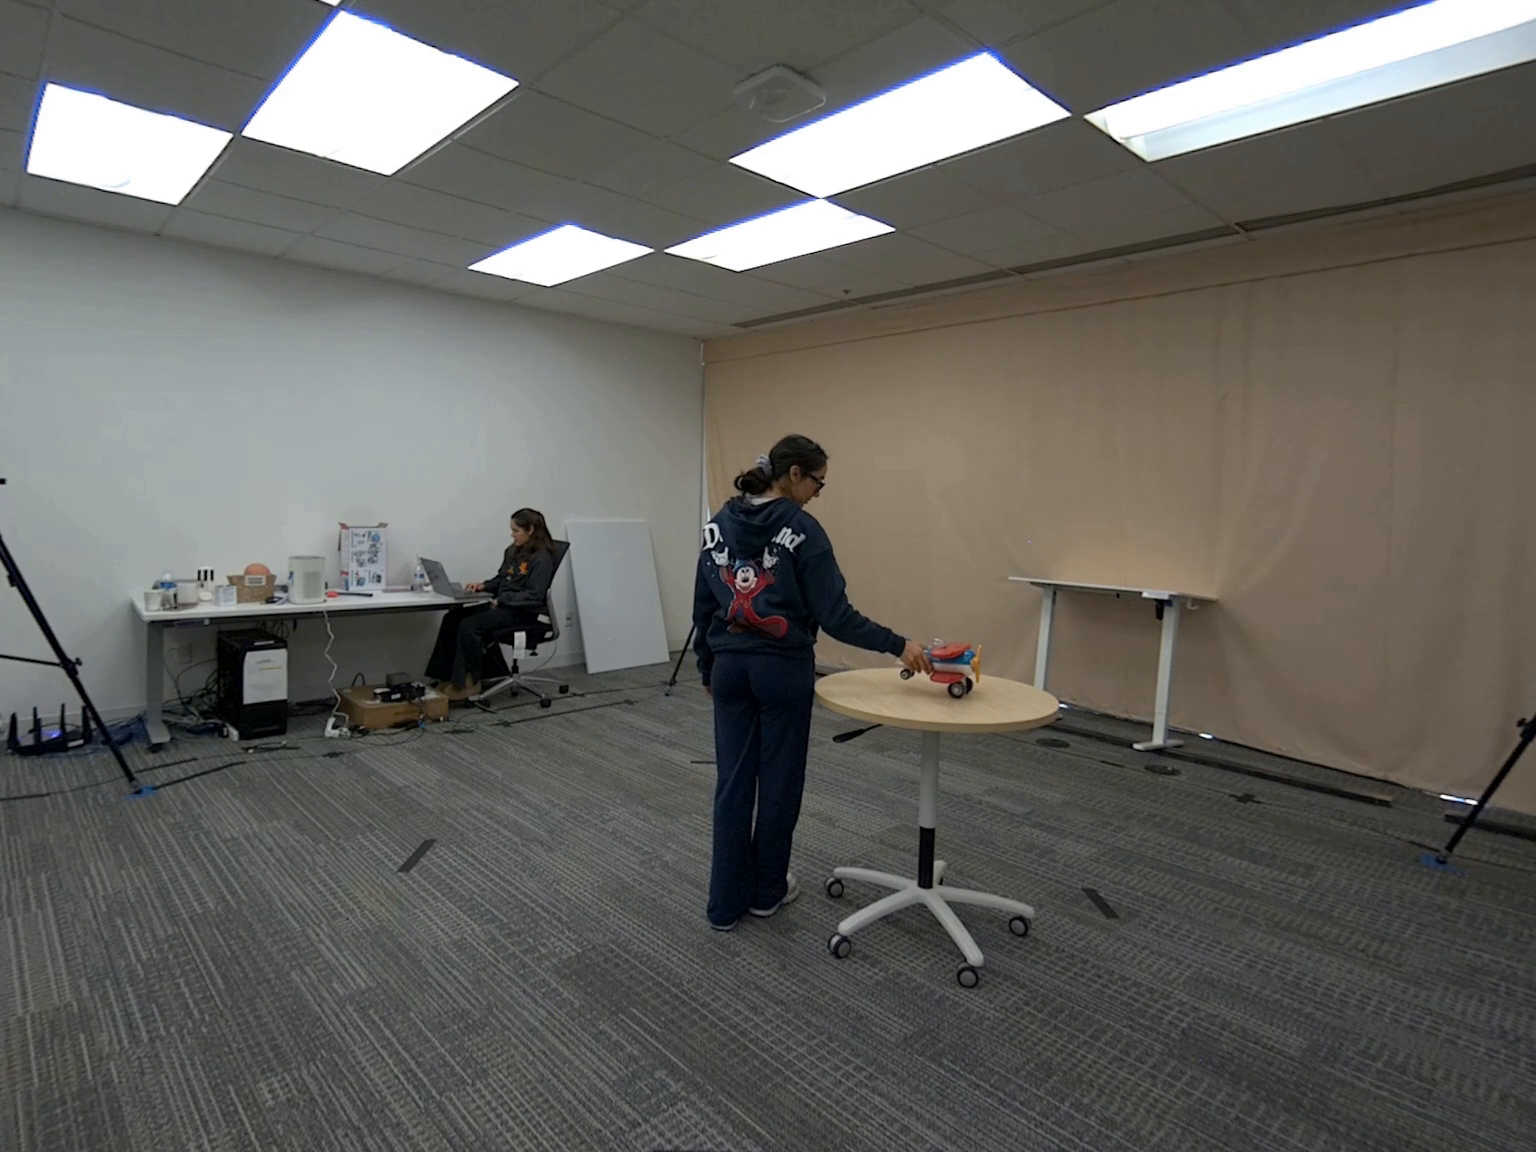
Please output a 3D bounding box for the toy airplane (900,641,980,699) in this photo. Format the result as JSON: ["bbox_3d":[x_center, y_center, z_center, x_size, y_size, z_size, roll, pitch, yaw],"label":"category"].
[{"bbox_3d":[0.536,0.285,2.698,0.259,0.155,0.252,11,10,-1],"label":"toy airplane"}]
